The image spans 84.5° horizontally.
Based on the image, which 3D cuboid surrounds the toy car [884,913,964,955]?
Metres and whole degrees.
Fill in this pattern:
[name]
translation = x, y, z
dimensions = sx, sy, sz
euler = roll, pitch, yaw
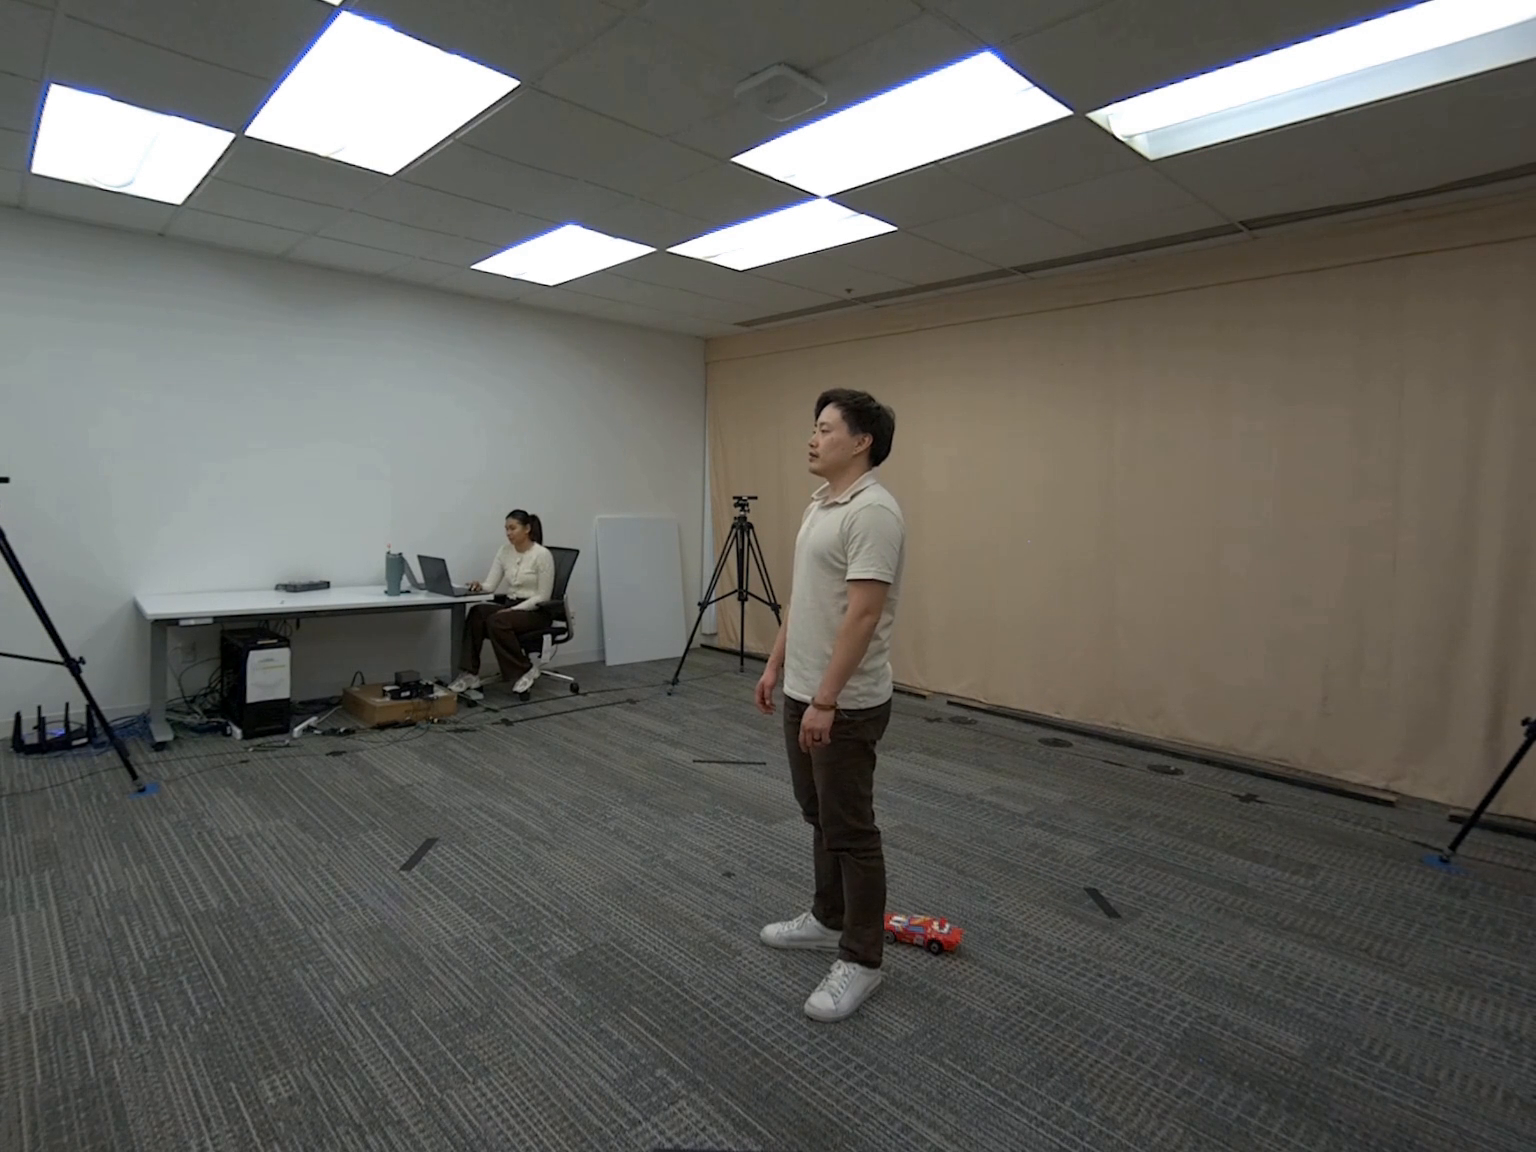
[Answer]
[toy car]
translation = 0.482, 1.129, 2.655
dimensions = 0.258, 0.083, 0.128
euler = -8, 0, 25
